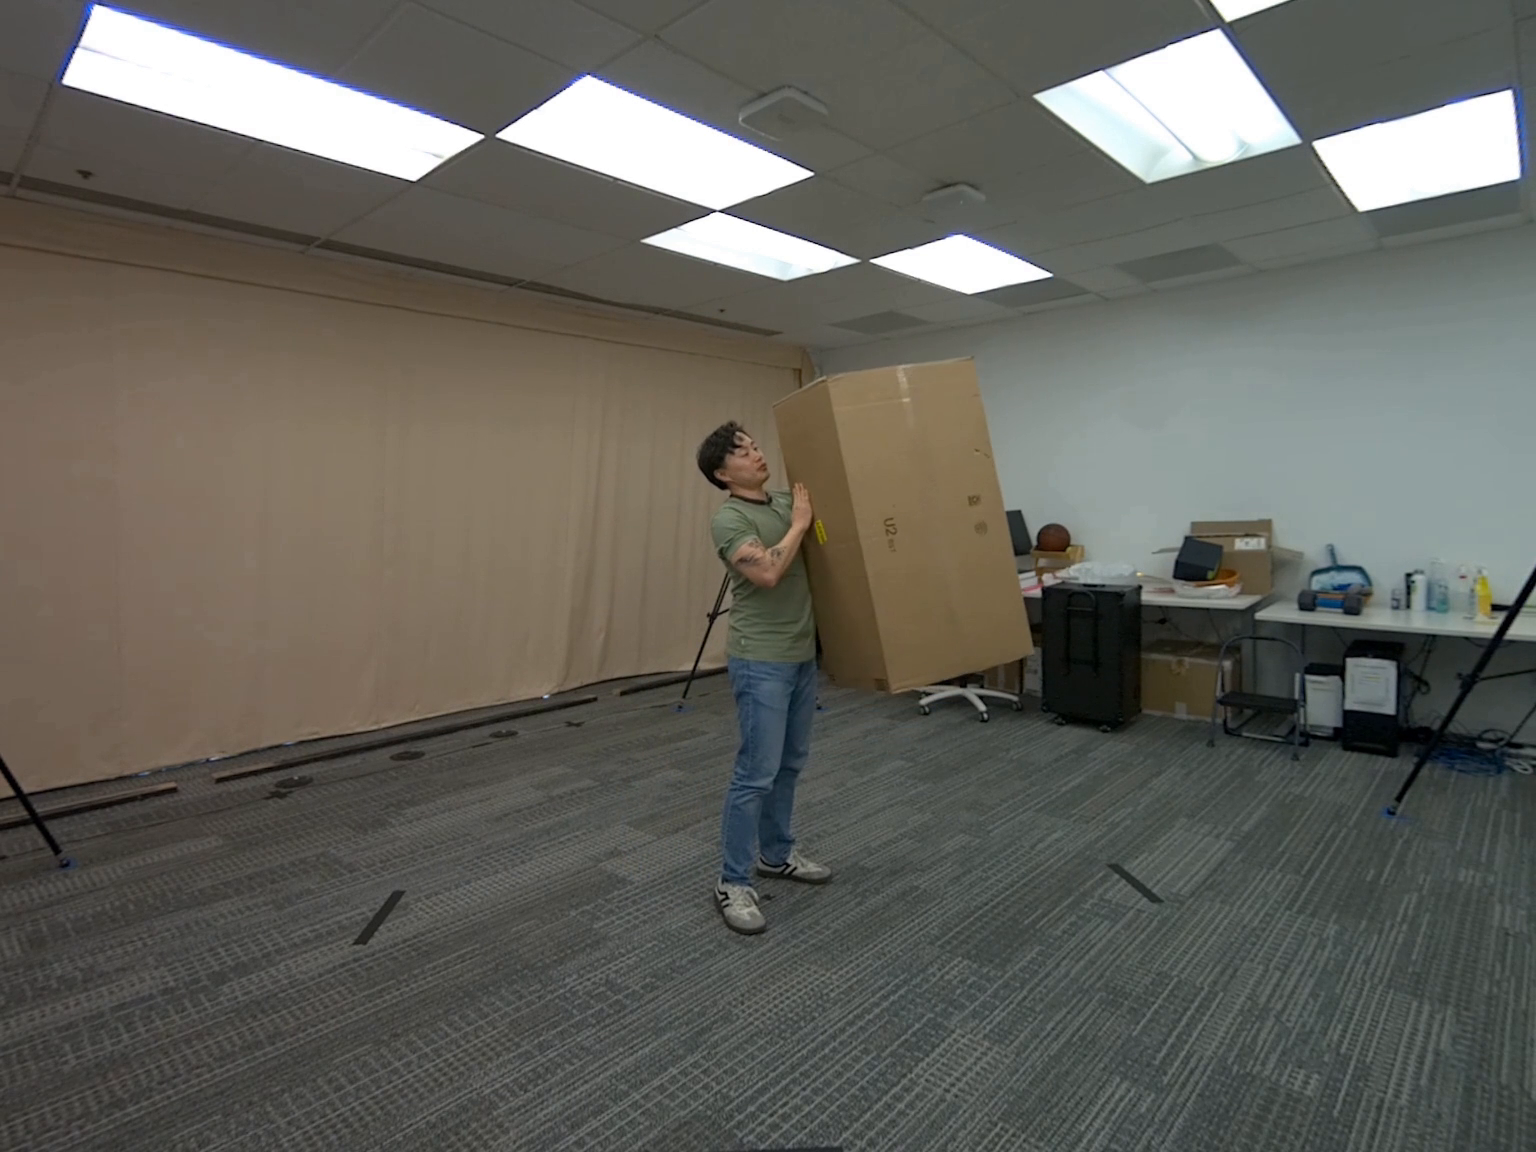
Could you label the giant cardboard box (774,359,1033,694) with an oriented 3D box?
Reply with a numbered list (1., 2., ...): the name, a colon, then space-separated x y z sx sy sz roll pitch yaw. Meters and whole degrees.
1. giant cardboard box: 0.459 -0.171 2.922 0.566 1.026 0.434 -12 0 -23
